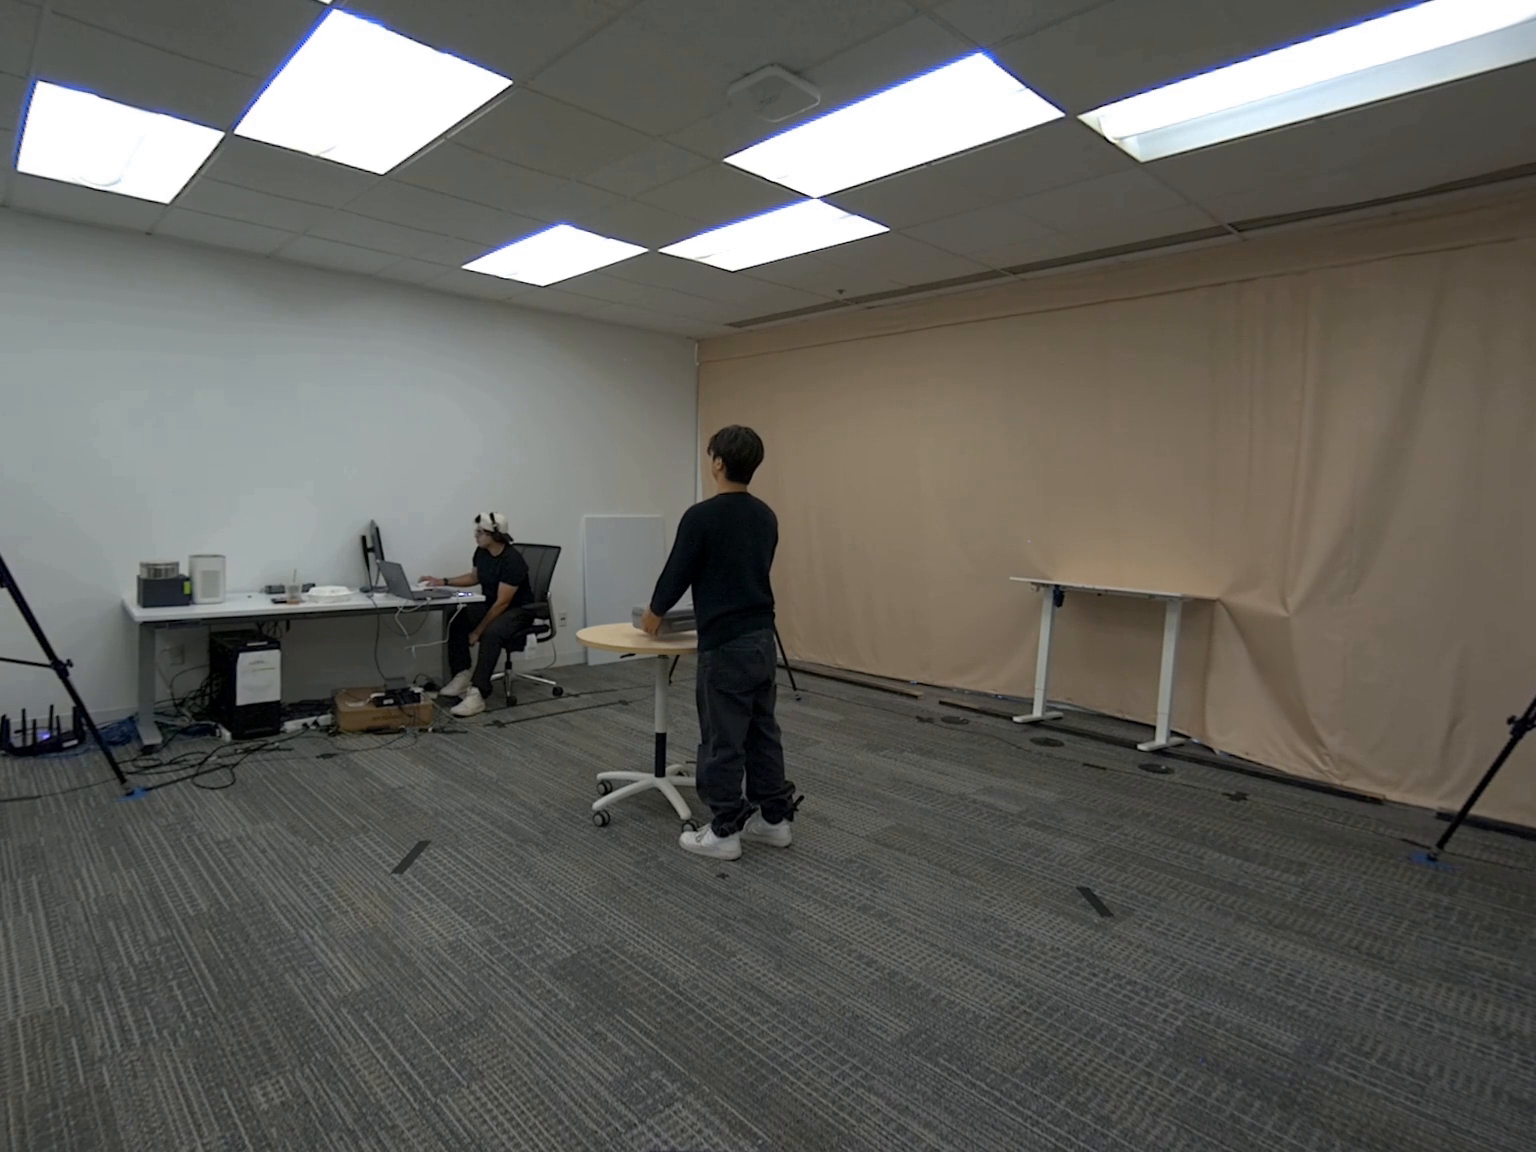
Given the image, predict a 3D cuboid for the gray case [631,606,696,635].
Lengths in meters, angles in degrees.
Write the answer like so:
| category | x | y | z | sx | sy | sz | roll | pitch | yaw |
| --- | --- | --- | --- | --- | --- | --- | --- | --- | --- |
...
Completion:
| category | x | y | z | sx | sy | sz | roll | pitch | yaw |
| --- | --- | --- | --- | --- | --- | --- | --- | --- | --- |
| gray case | -0.439 | 0.180 | 3.688 | 0.251 | 0.104 | 0.267 | -3 | 7 | -41 |
